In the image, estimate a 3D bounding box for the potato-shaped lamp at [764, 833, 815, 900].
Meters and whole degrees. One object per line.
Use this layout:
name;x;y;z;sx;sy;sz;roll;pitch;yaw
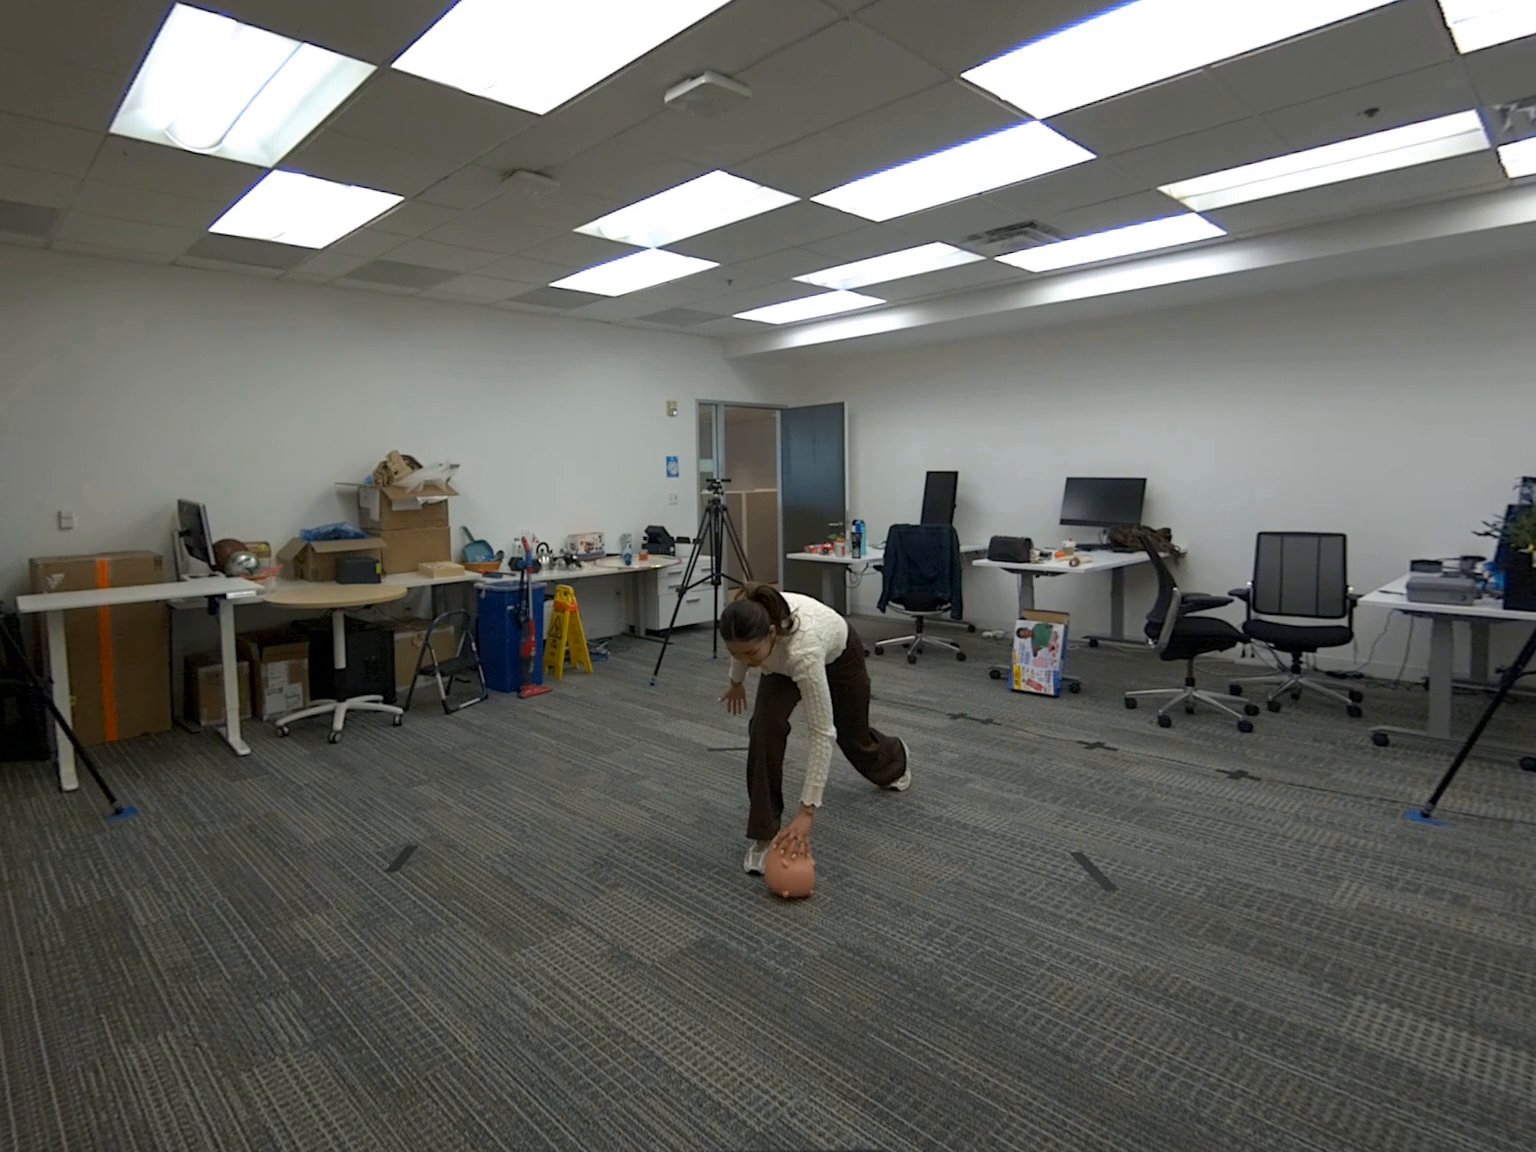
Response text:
potato-shaped lamp;0.072;0.967;2.878;0.160;0.199;0.175;8;-7;-27
